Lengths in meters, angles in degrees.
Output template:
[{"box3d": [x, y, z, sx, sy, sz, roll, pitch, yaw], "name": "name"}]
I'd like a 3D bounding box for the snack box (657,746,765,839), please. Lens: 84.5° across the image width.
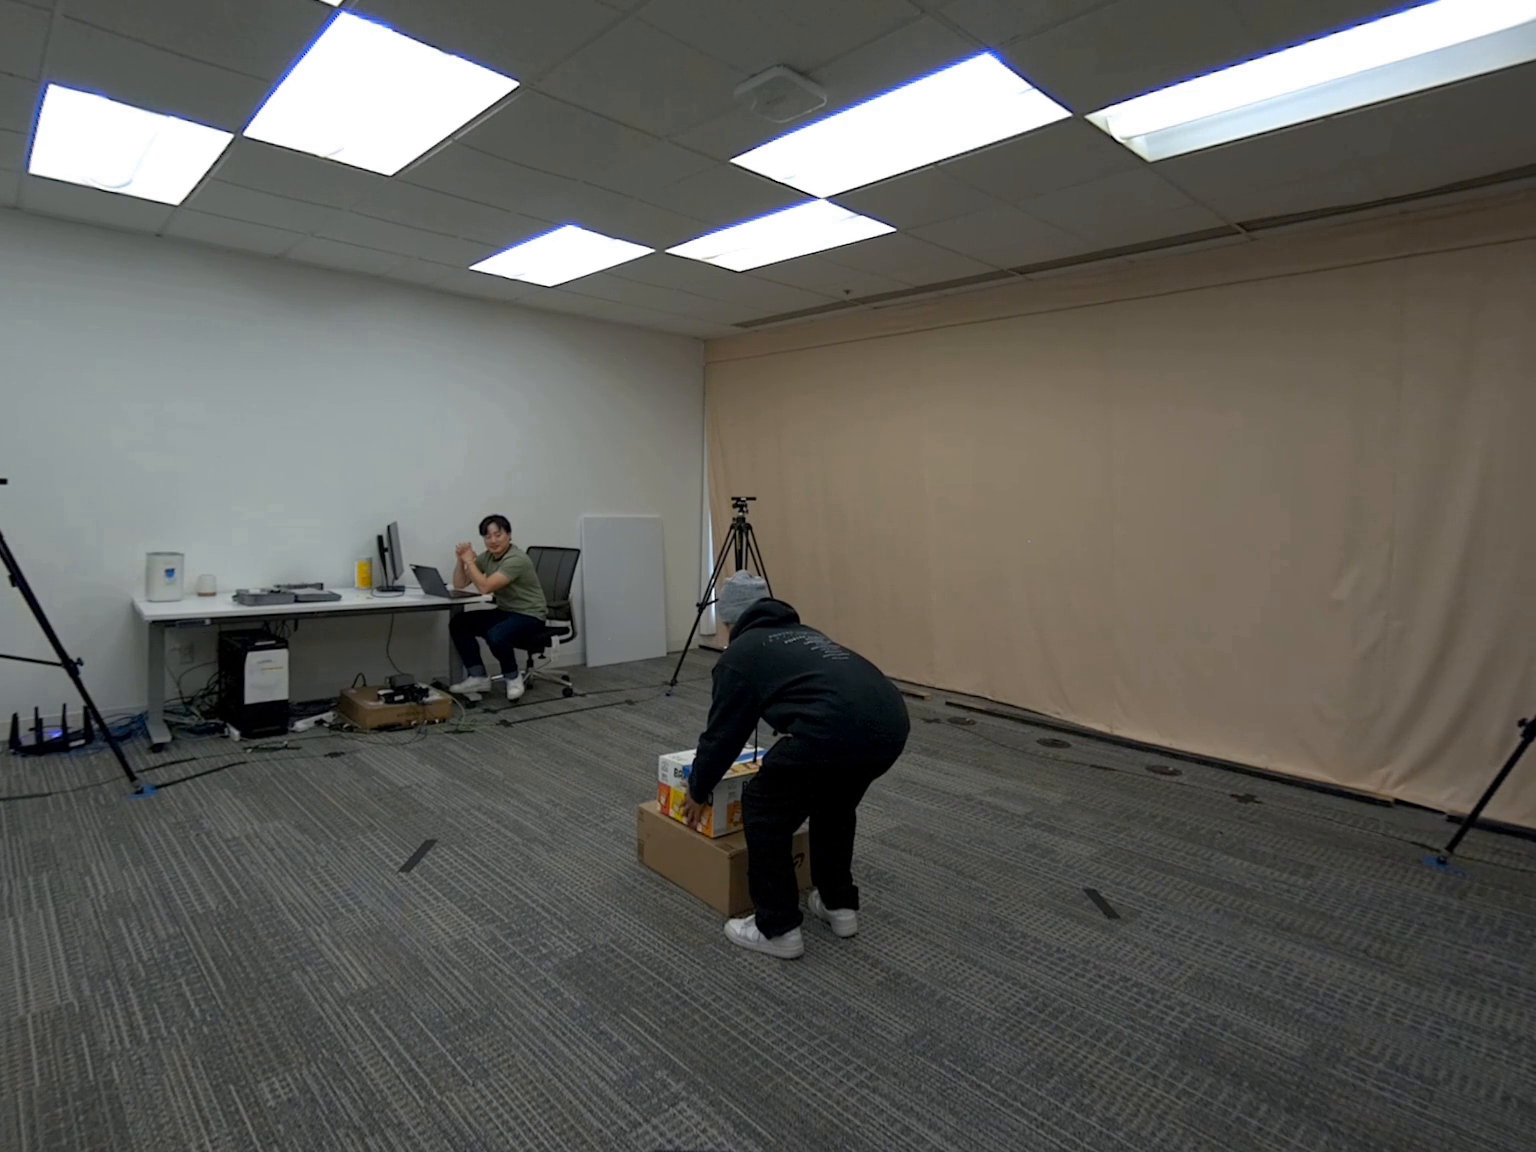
[{"box3d": [-0.156, 0.785, 3.140, 0.396, 0.205, 0.349, -1, 5, -41], "name": "snack box"}]
